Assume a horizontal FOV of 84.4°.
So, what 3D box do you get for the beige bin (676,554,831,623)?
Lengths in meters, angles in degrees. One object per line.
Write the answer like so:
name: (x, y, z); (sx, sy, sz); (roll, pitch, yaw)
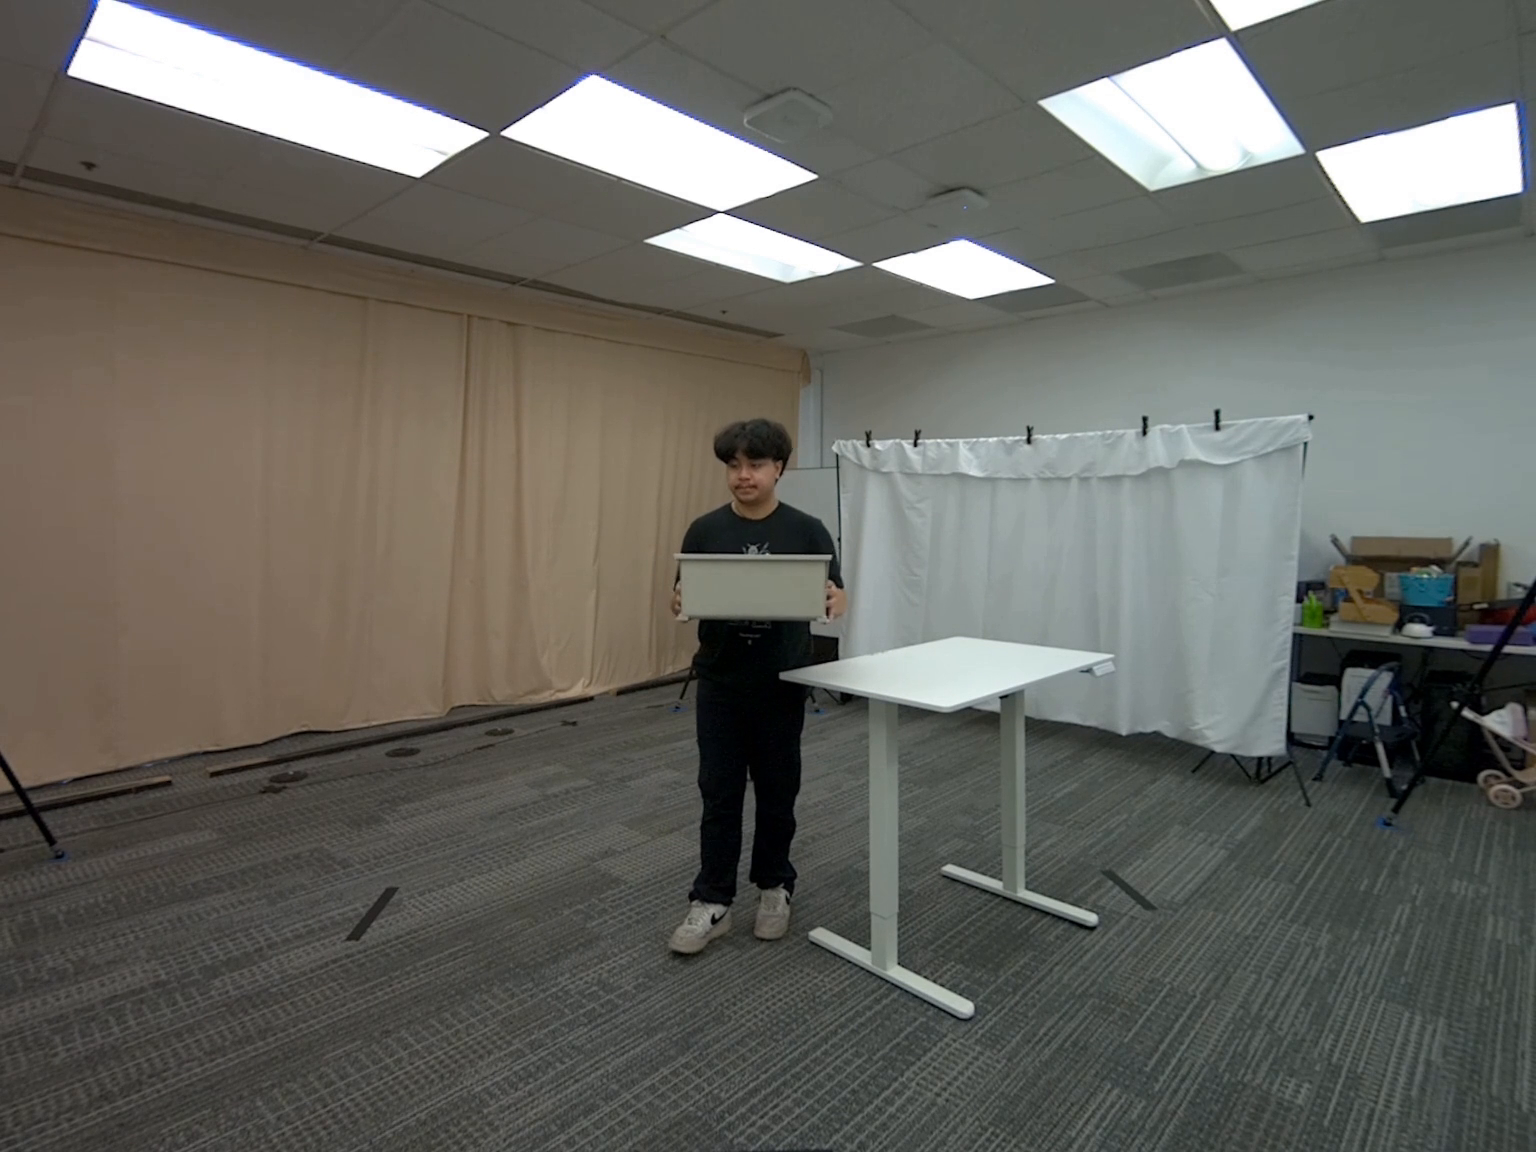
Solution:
beige bin: (-0.047, 0.036, 2.430); (0.424, 0.189, 0.377); (1, 2, 2)
